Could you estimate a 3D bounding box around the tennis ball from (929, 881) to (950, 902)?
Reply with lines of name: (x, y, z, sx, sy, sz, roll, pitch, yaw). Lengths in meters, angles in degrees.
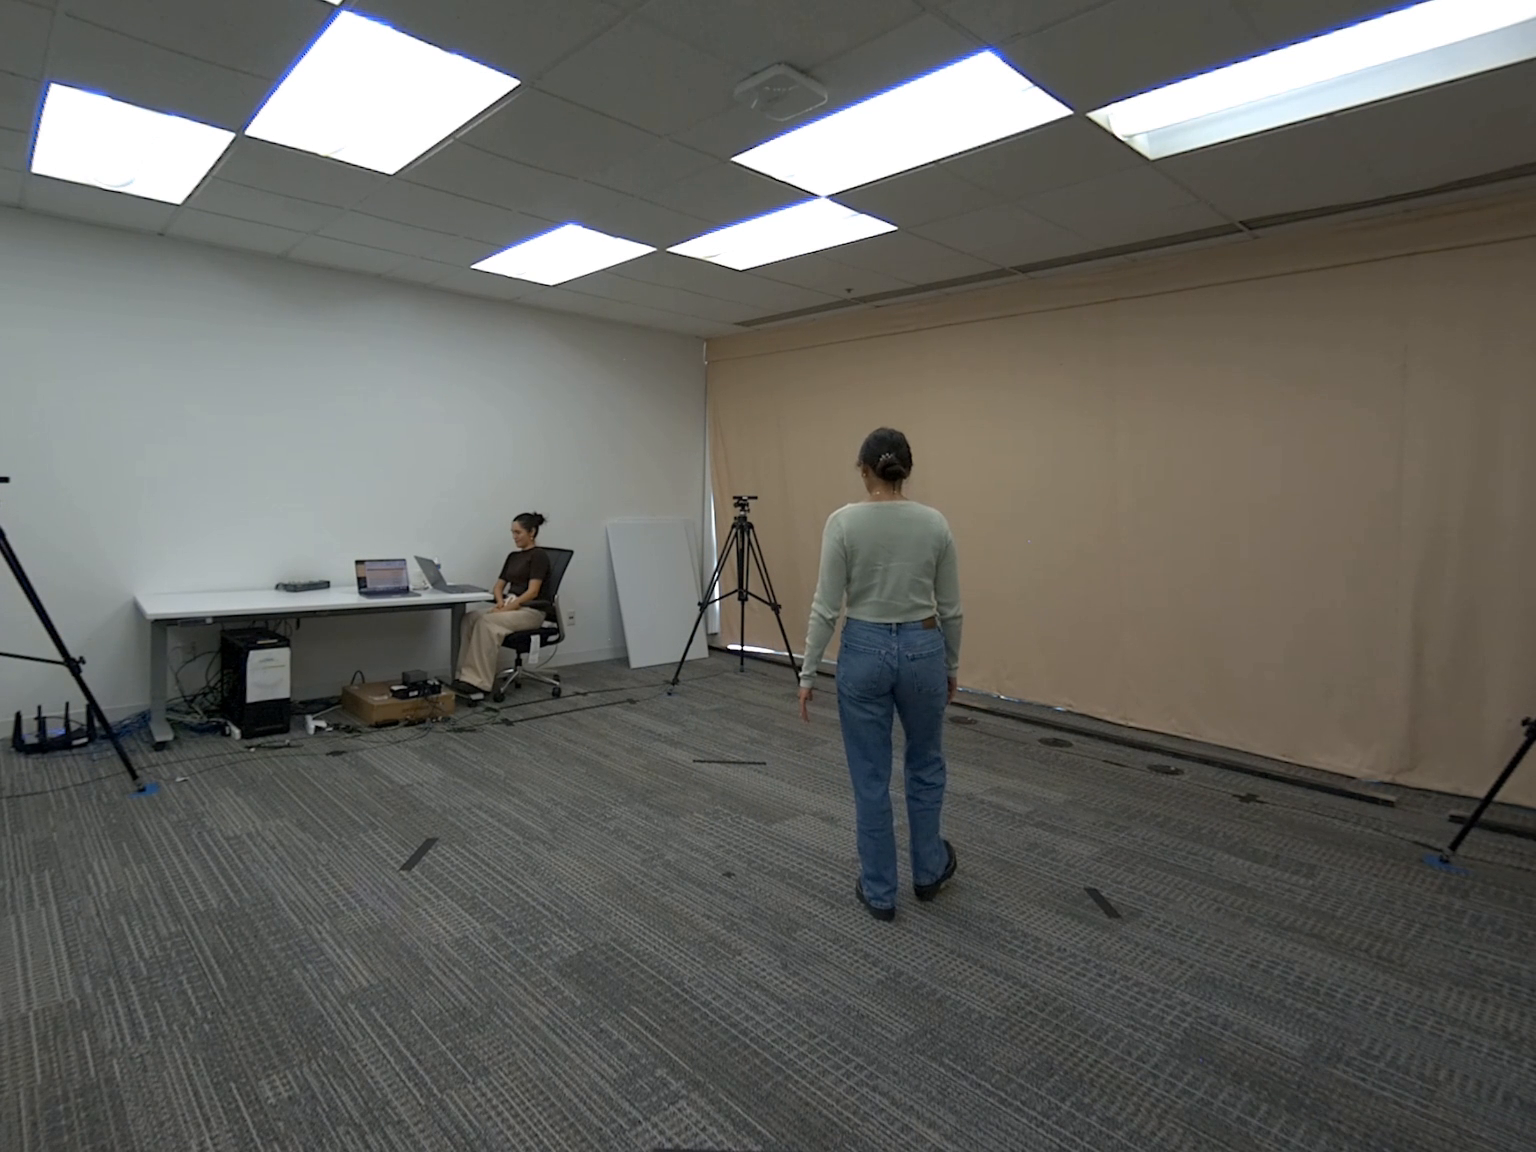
tennis ball: (0.604, 1.114, 3.031, 0.066, 0.066, 0.067, 1, 4, -1)
